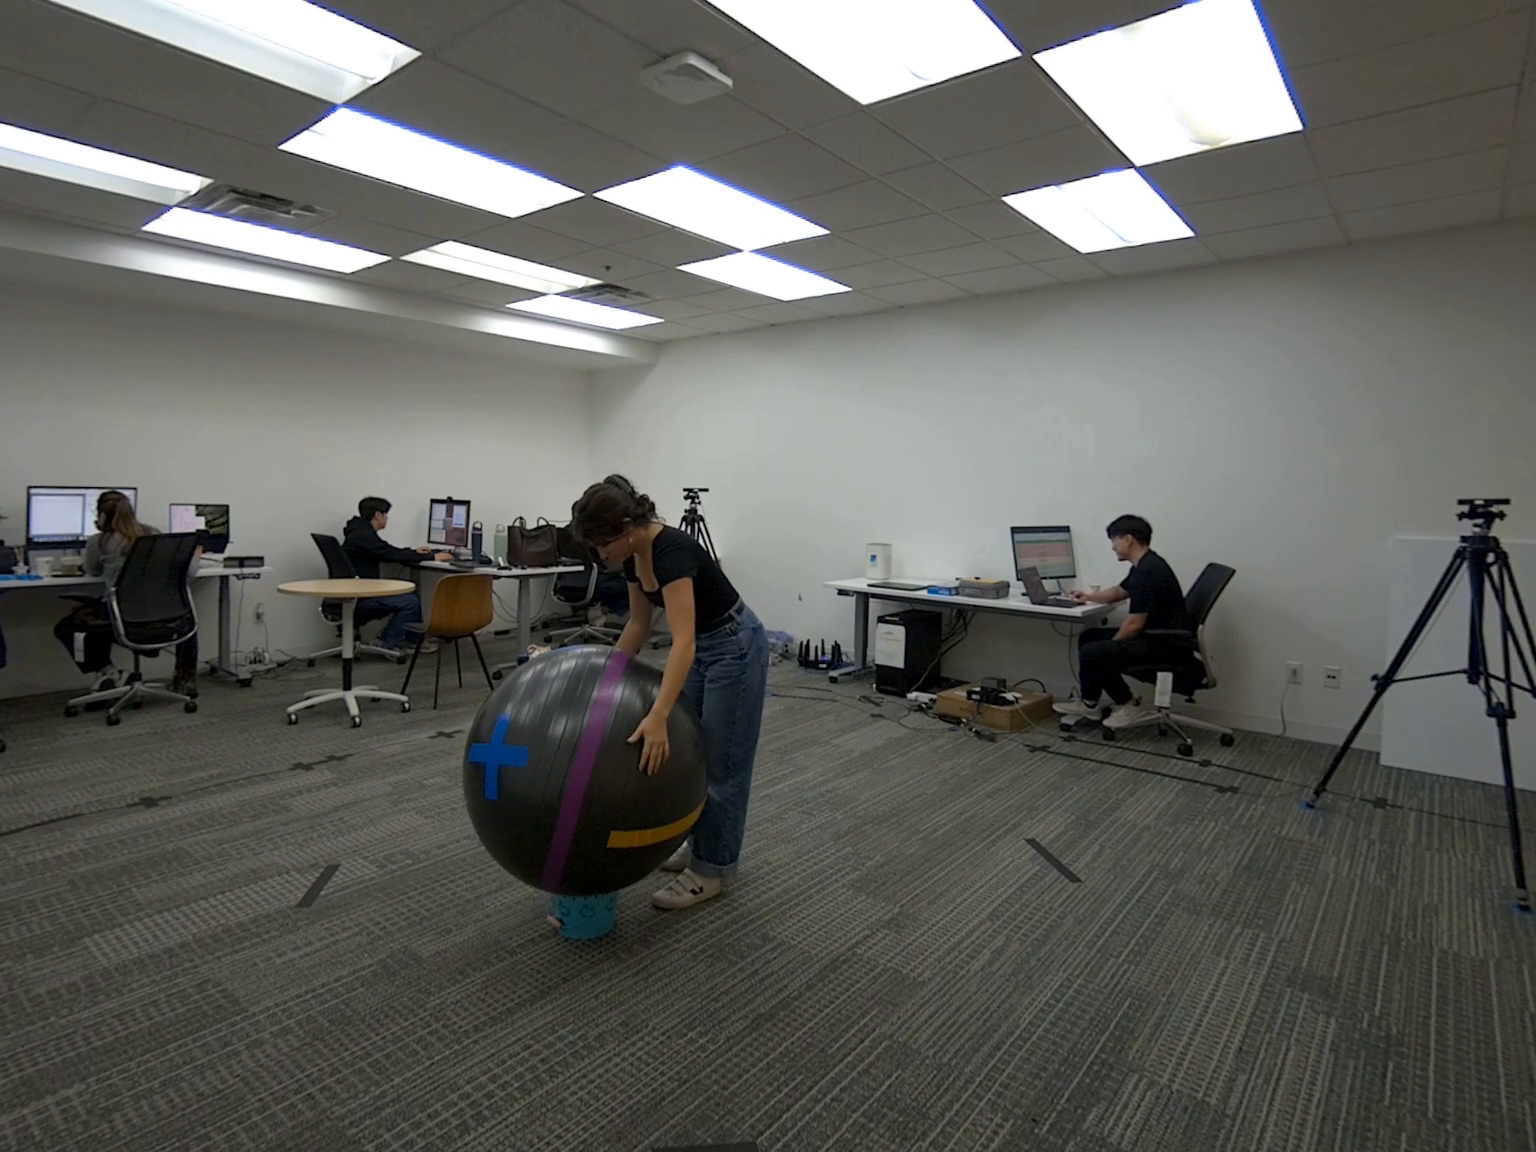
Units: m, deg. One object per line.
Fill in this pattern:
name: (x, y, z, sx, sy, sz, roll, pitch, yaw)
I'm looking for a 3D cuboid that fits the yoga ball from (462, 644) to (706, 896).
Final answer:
yoga ball: (-0.582, 0.598, 2.663, 0.757, 0.755, 0.762, 1, 4, -2)
